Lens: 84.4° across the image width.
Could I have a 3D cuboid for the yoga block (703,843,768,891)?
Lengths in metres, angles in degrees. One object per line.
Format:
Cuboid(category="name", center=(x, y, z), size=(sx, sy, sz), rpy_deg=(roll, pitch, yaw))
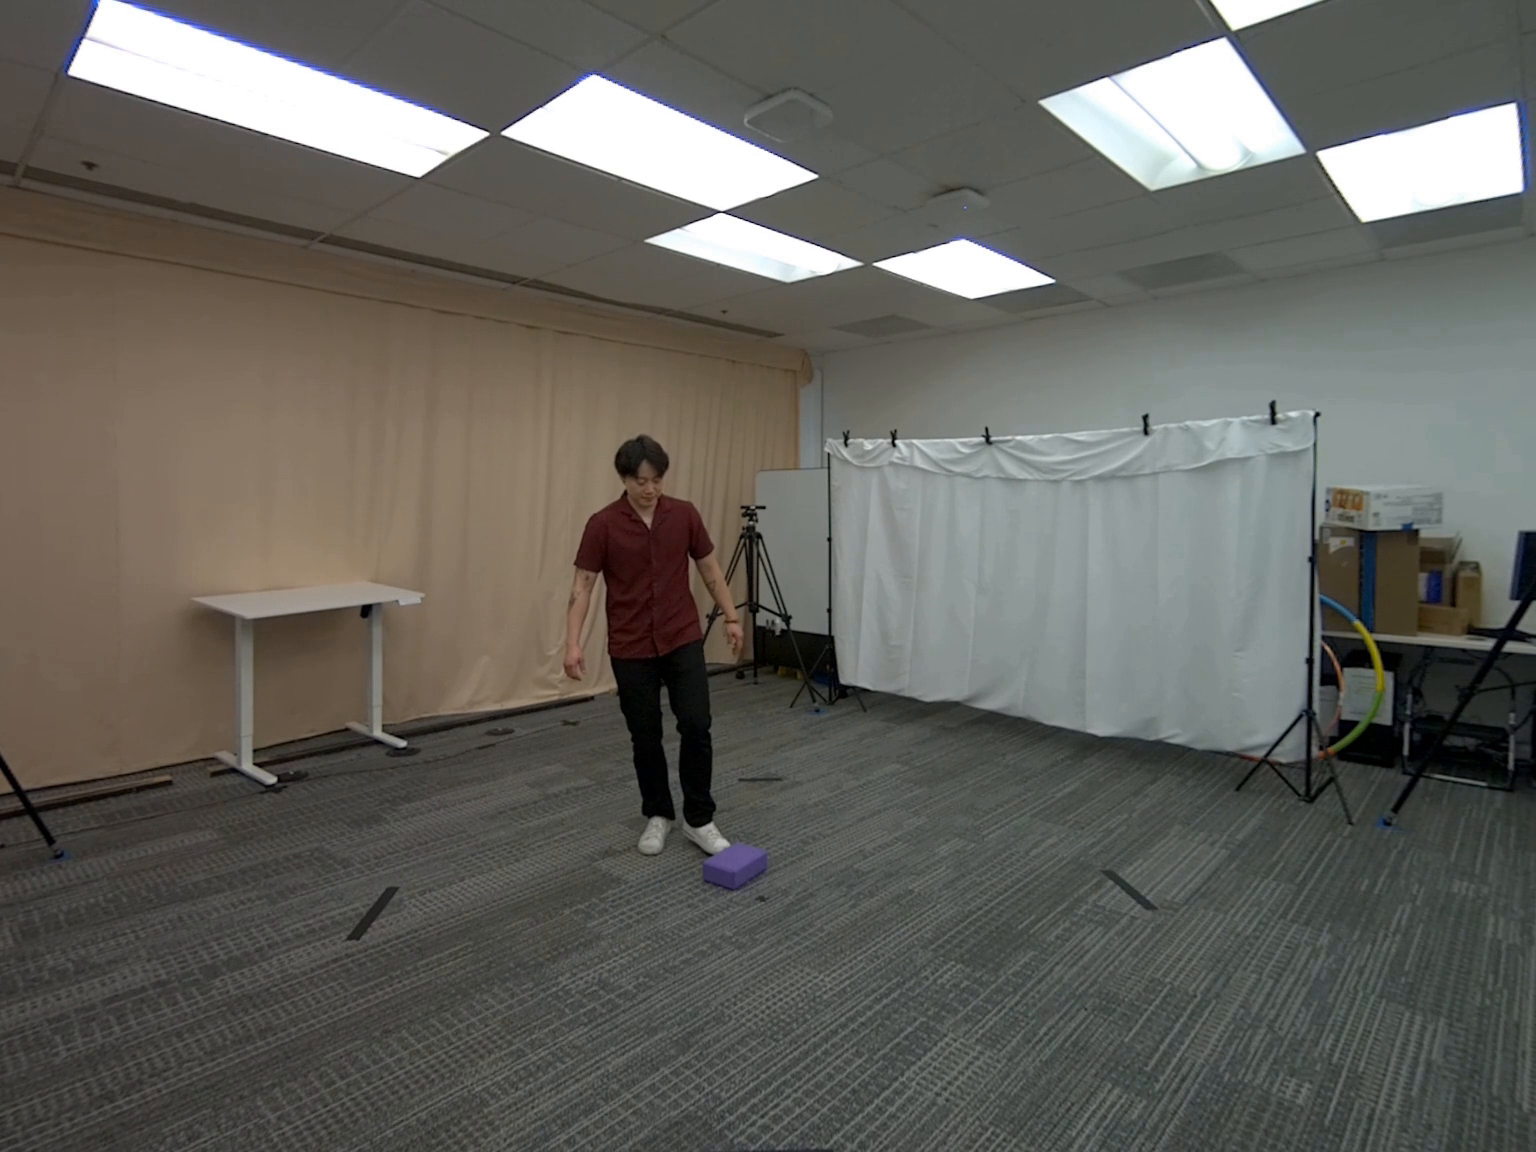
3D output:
Cuboid(category="yoga block", center=(-0.119, 1.088, 3.168), size=(0.154, 0.076, 0.223), rpy_deg=(3, 6, 34))
